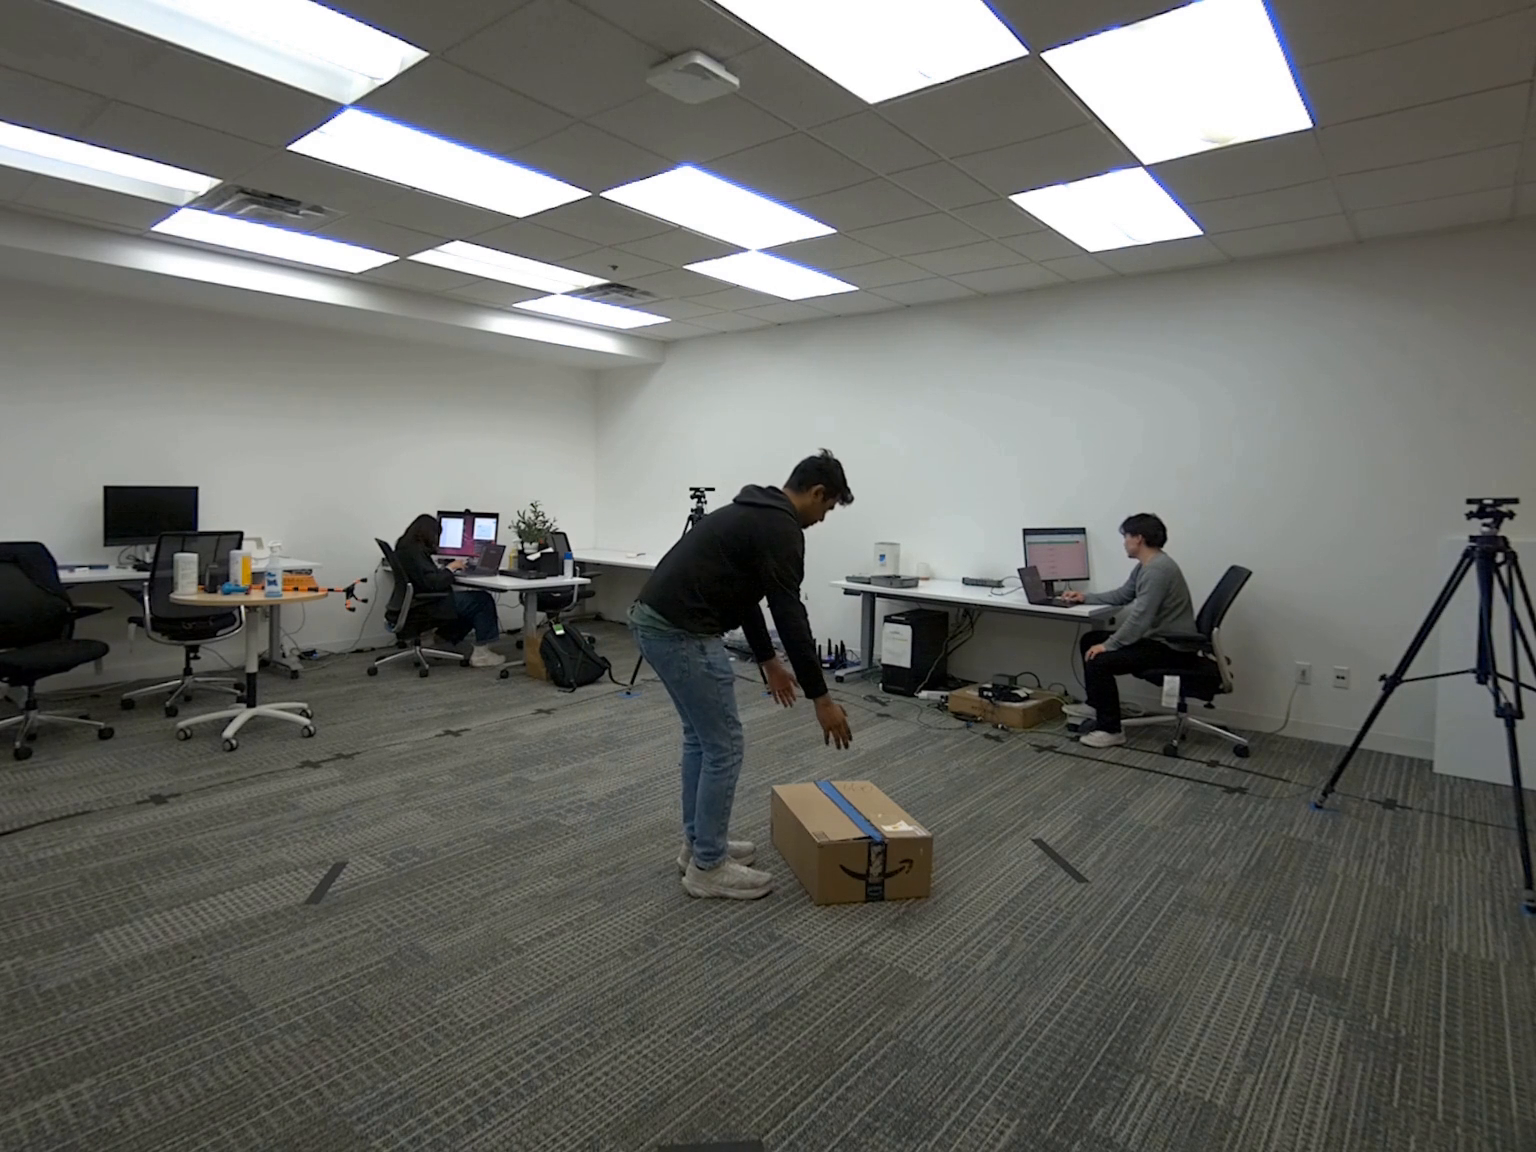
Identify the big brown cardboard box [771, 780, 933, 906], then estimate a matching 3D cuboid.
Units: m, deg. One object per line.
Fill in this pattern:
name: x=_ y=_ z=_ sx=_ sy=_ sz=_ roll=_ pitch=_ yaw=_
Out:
big brown cardboard box: x=0.279 y=0.959 z=3.143 sx=0.411 sy=0.232 sz=0.600 roll=0 pitch=5 yaw=-15
